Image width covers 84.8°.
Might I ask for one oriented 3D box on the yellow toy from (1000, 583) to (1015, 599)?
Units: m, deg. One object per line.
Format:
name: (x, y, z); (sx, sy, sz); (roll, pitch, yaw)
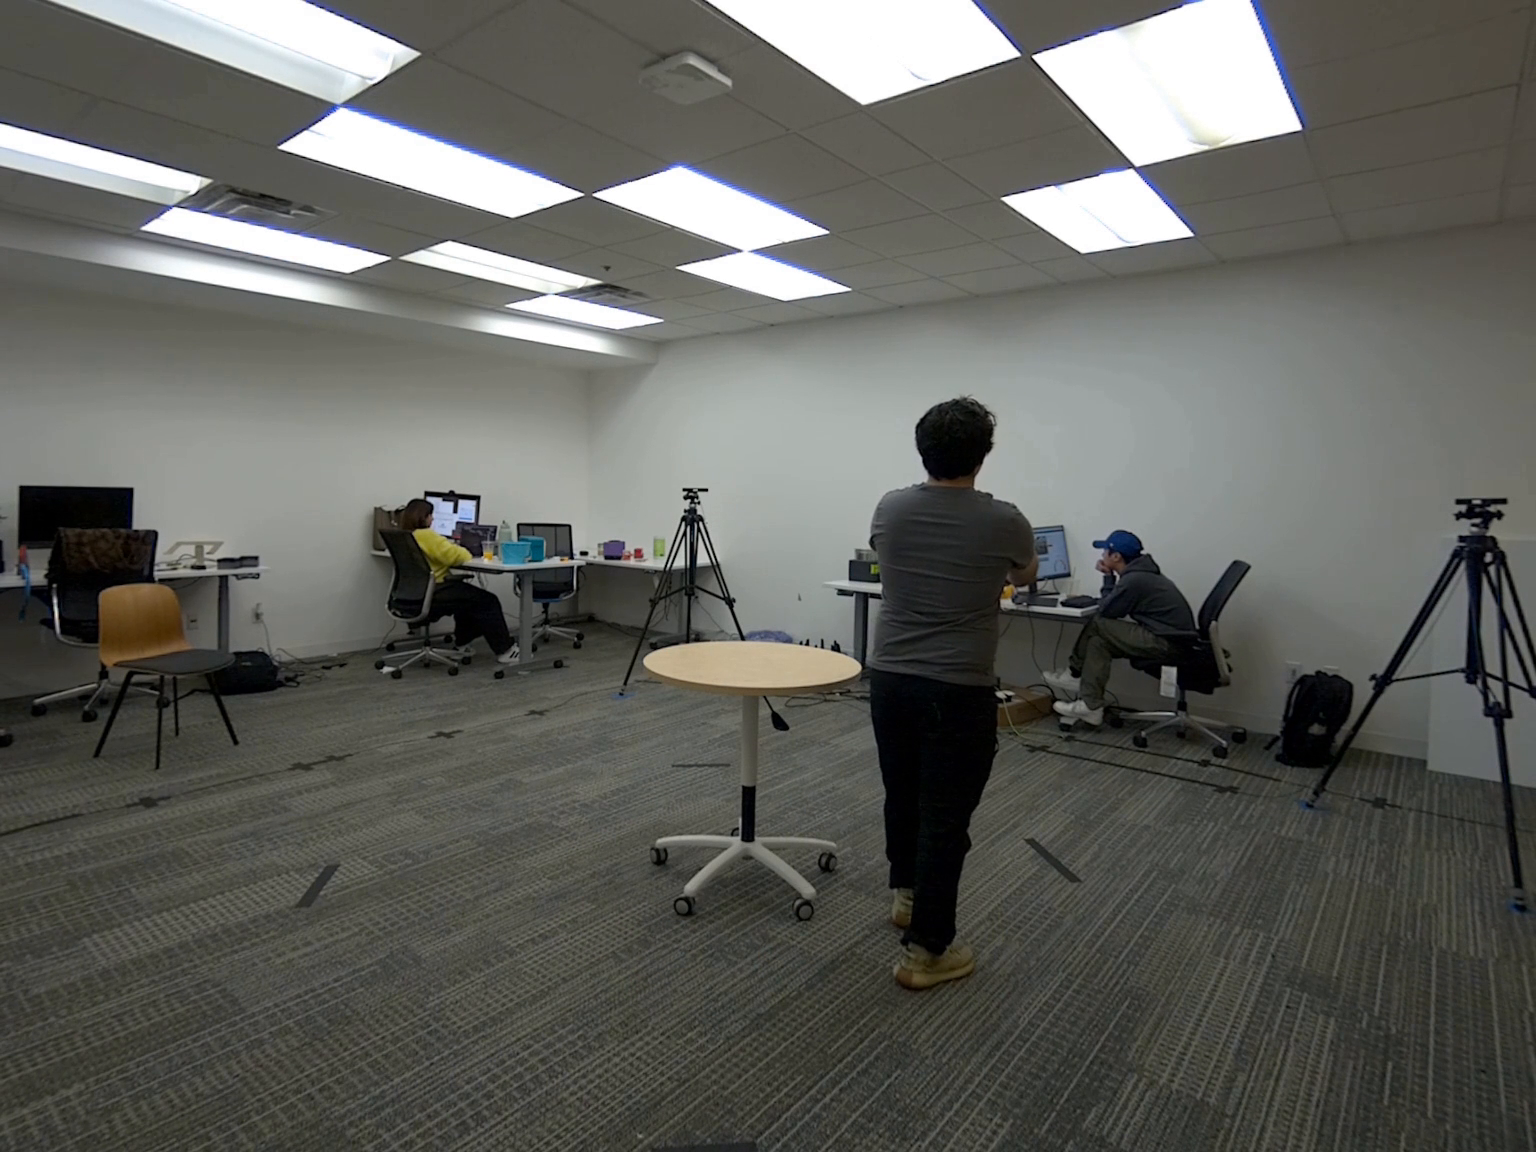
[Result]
yellow toy: (0.747, -0.055, 2.985); (0.210, 0.228, 0.190); (5, 13, 26)
